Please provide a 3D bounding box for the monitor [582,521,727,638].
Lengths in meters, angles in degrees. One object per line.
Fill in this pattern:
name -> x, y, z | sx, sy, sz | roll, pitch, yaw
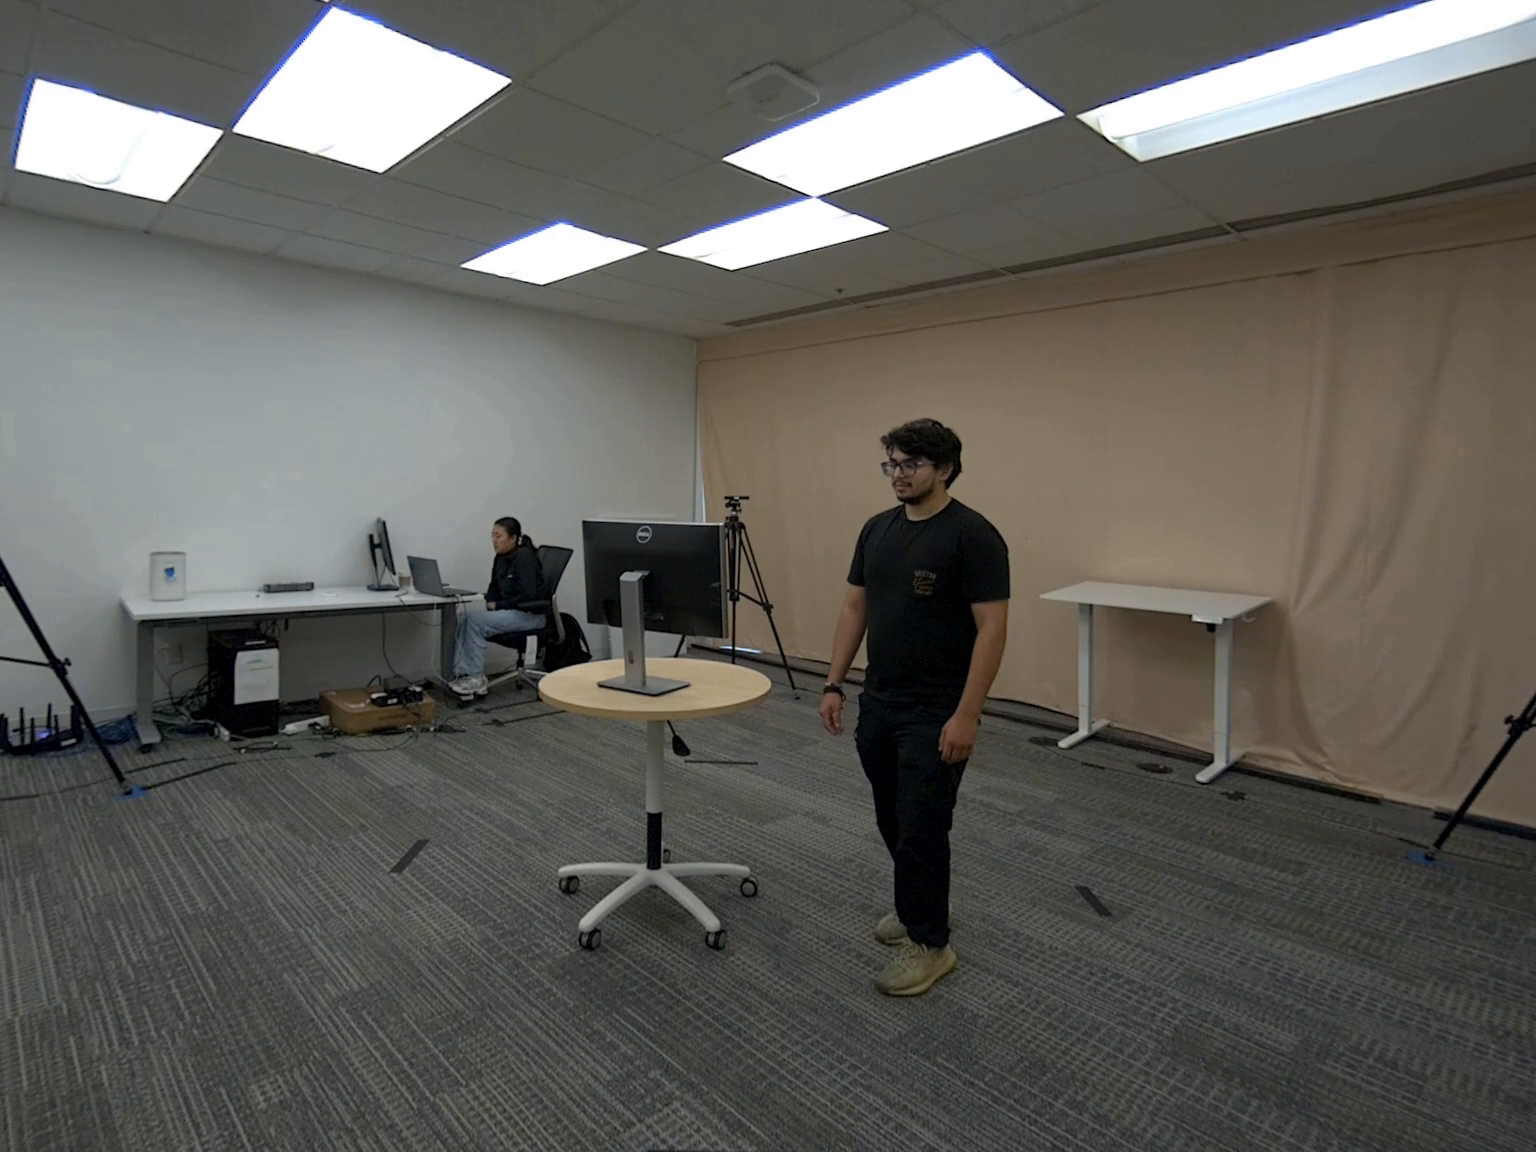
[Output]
monitor -> -0.418, 0.098, 2.686 | 0.578, 0.552, 0.206 | 4, 7, 31
